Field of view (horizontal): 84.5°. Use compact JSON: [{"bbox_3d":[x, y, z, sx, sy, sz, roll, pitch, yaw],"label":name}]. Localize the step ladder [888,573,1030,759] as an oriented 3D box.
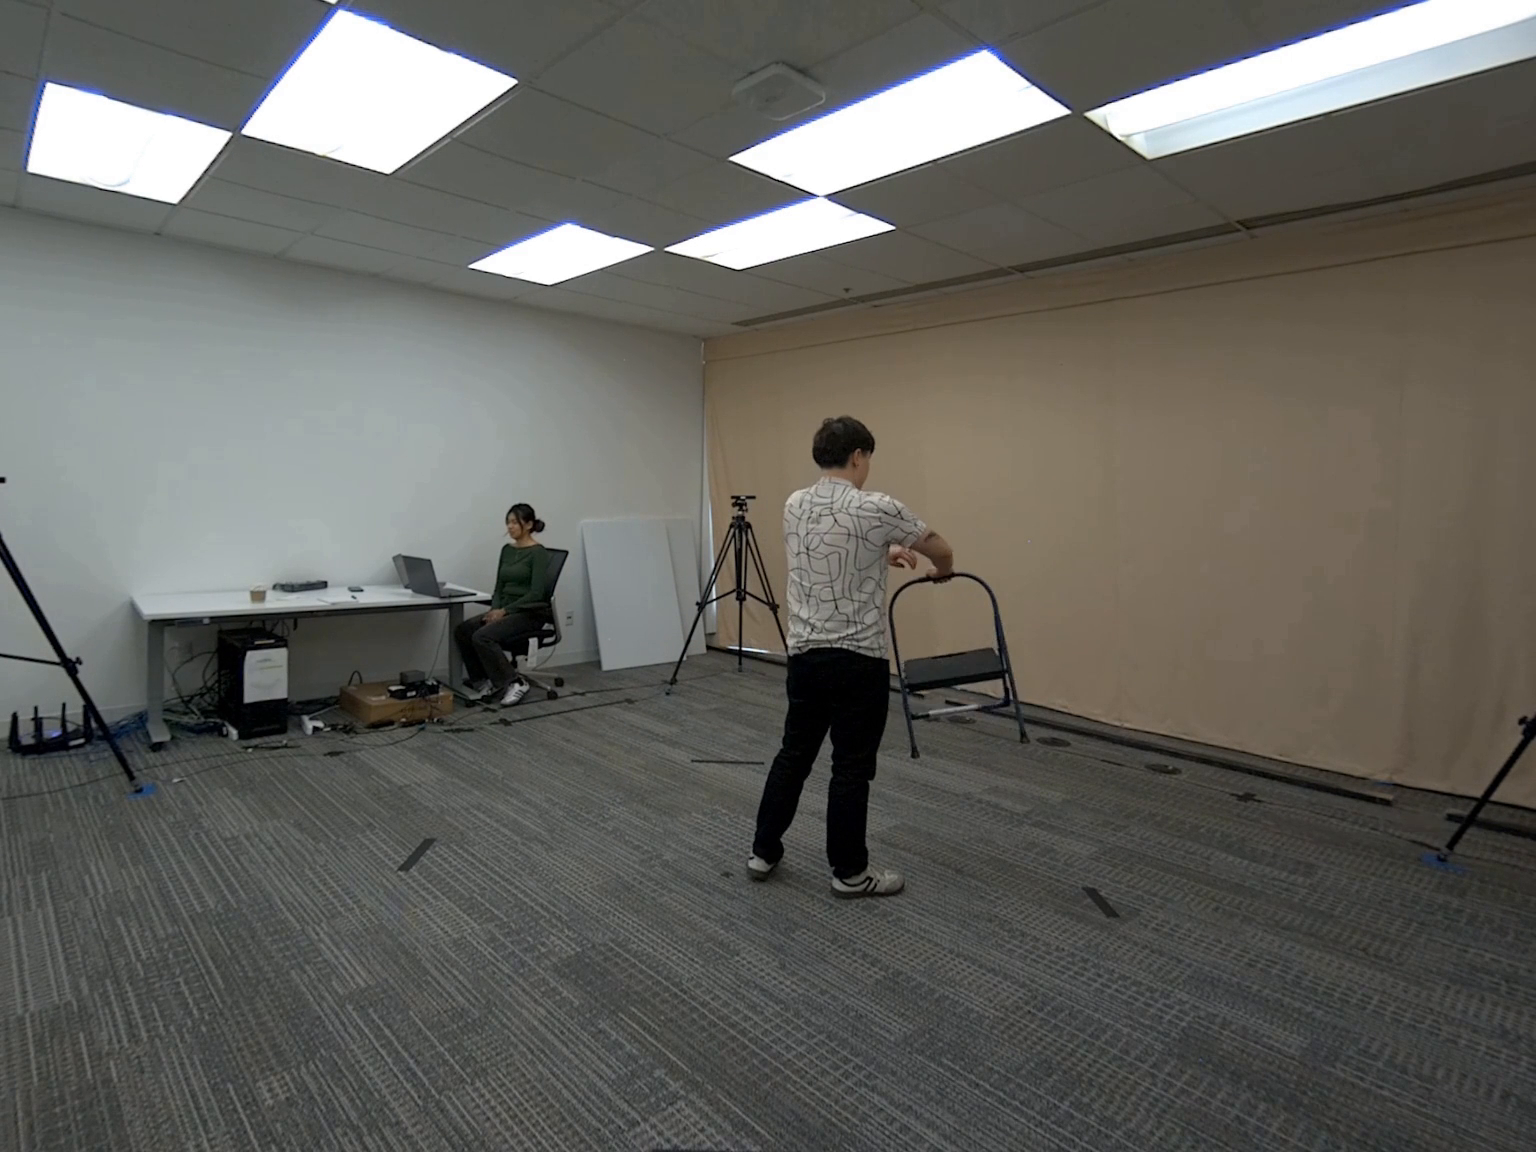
[{"bbox_3d":[0.681,0.316,3.187,0.433,0.600,0.350,-10,12,10],"label":"step ladder"}]
